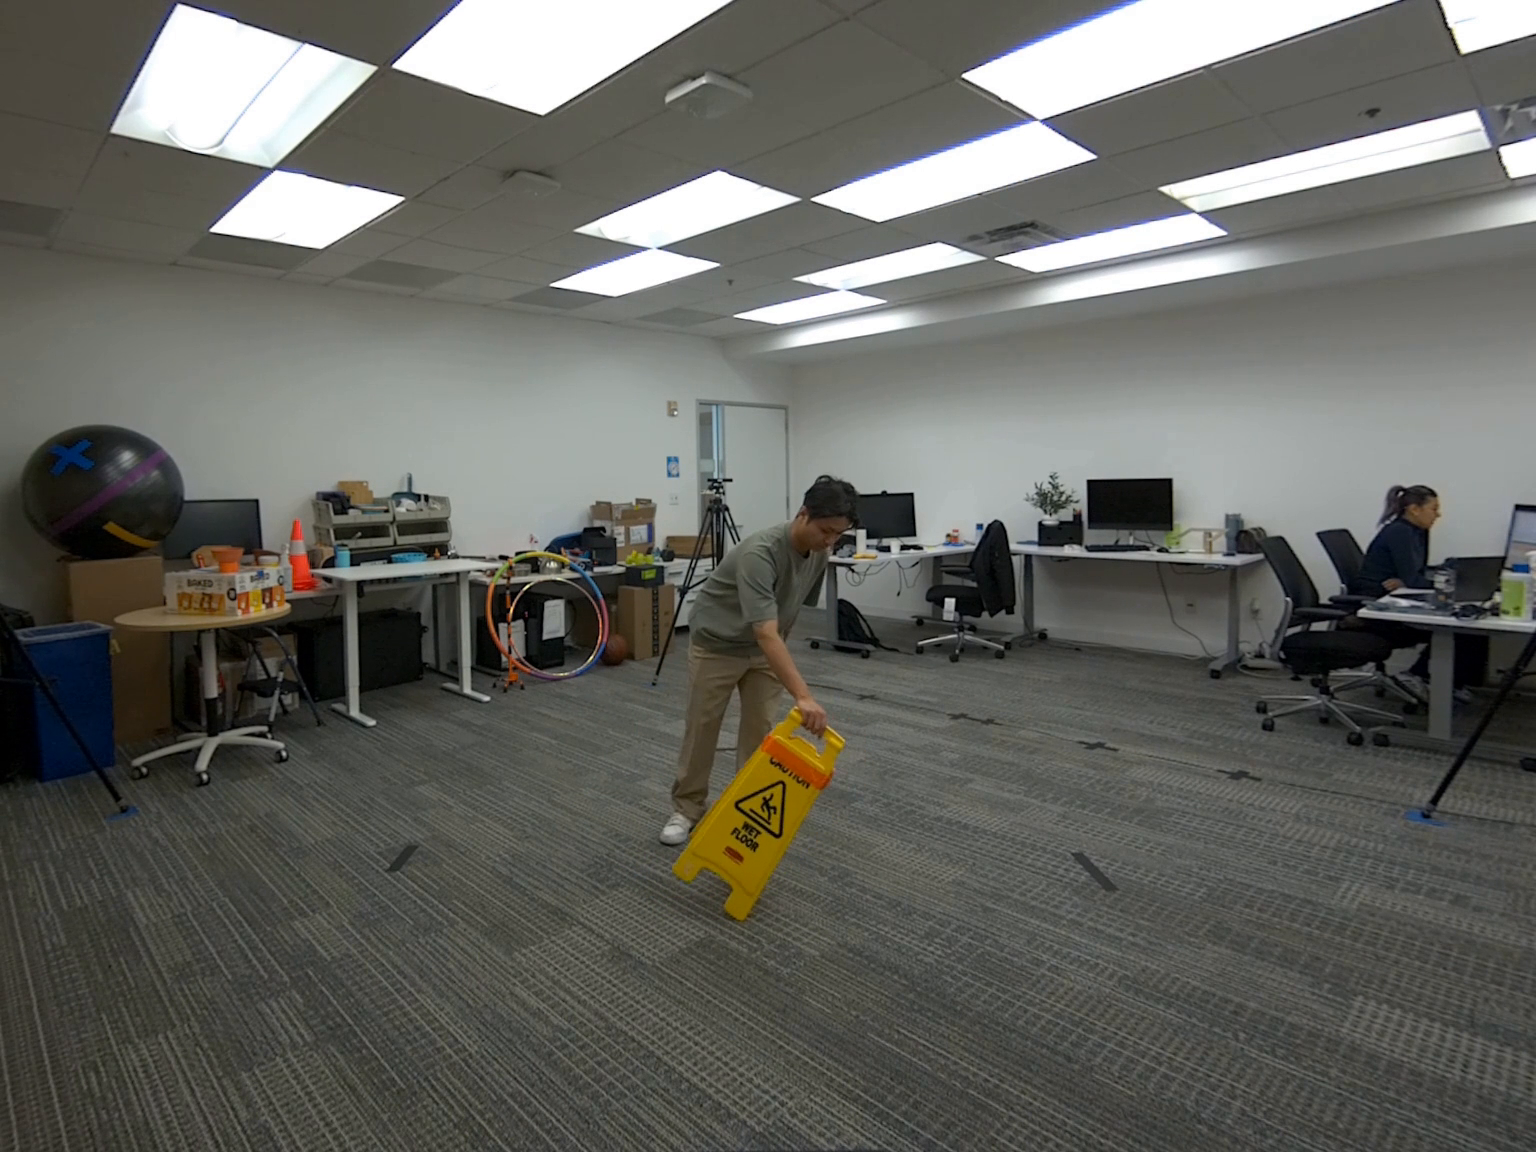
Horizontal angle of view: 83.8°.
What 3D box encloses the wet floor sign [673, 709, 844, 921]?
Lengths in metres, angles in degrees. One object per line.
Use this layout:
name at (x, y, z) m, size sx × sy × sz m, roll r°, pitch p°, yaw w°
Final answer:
wet floor sign at (-0.002, 0.745, 2.788) m, size 0.285 × 0.644 × 0.288 m, roll 29°, pitch 9°, yaw 6°
